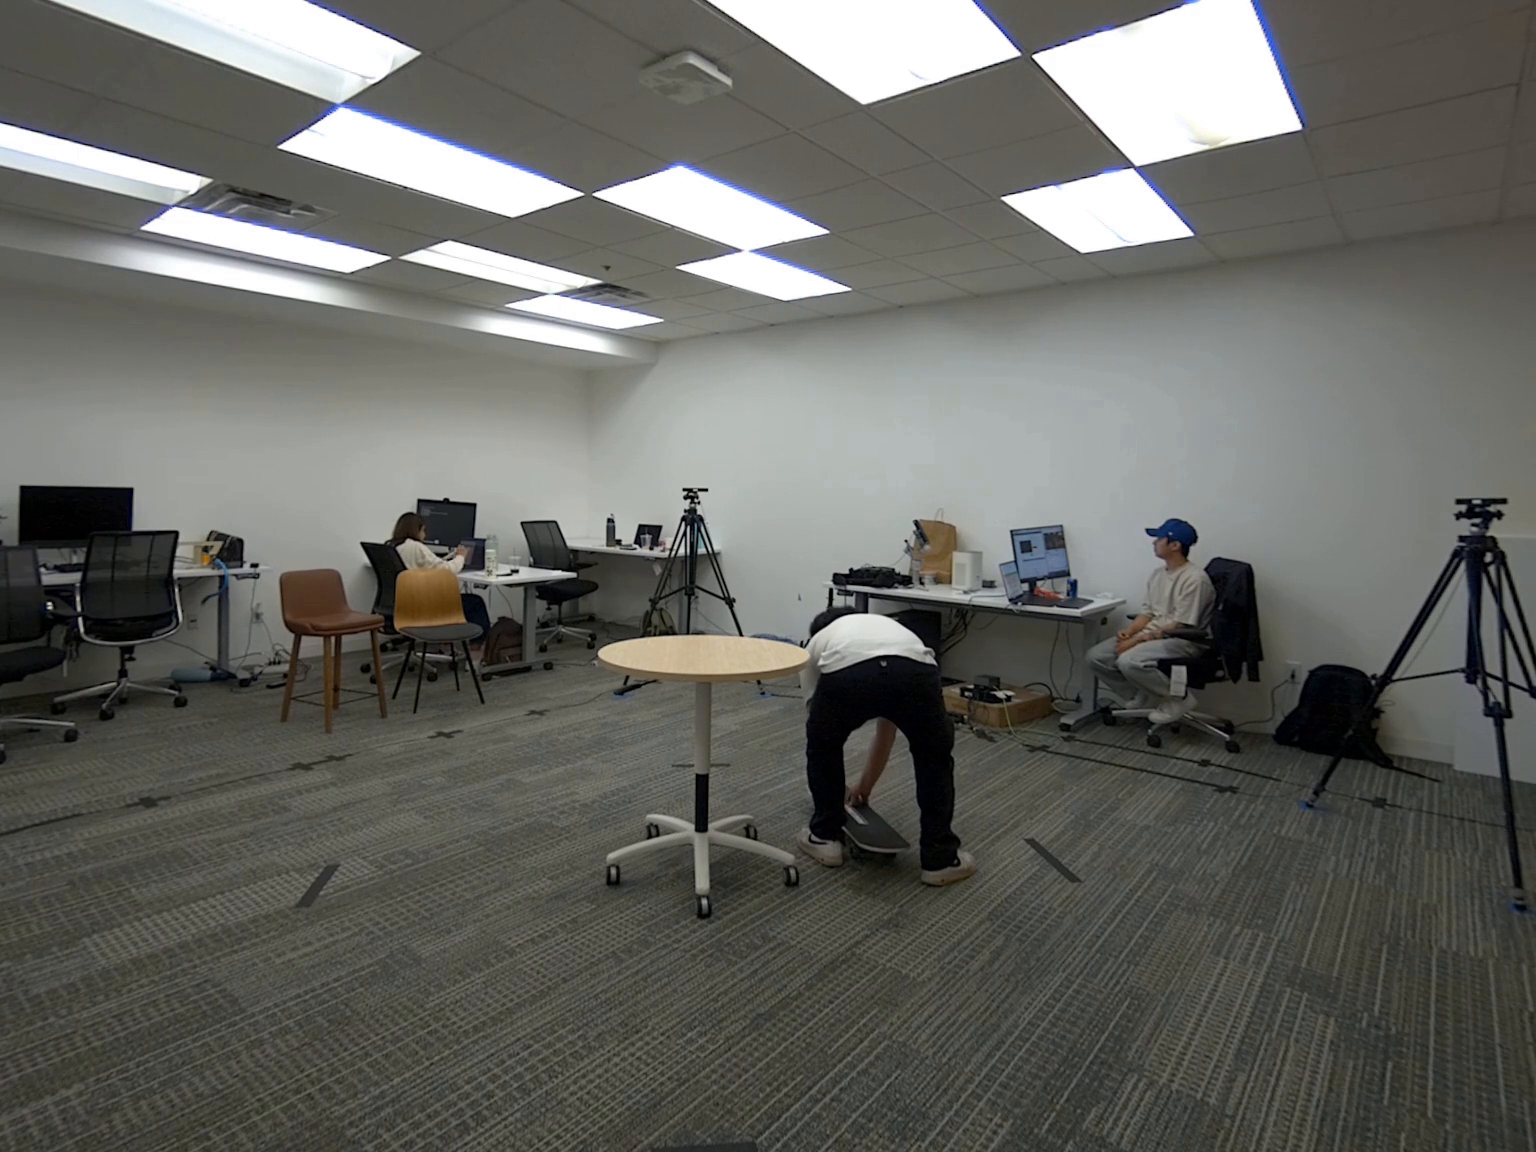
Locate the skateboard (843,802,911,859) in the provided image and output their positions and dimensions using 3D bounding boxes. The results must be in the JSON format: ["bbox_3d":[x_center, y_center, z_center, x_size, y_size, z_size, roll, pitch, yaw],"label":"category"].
[{"bbox_3d":[0.337,0.991,3.445,0.190,0.110,0.801,0,6,-16],"label":"skateboard"}]
